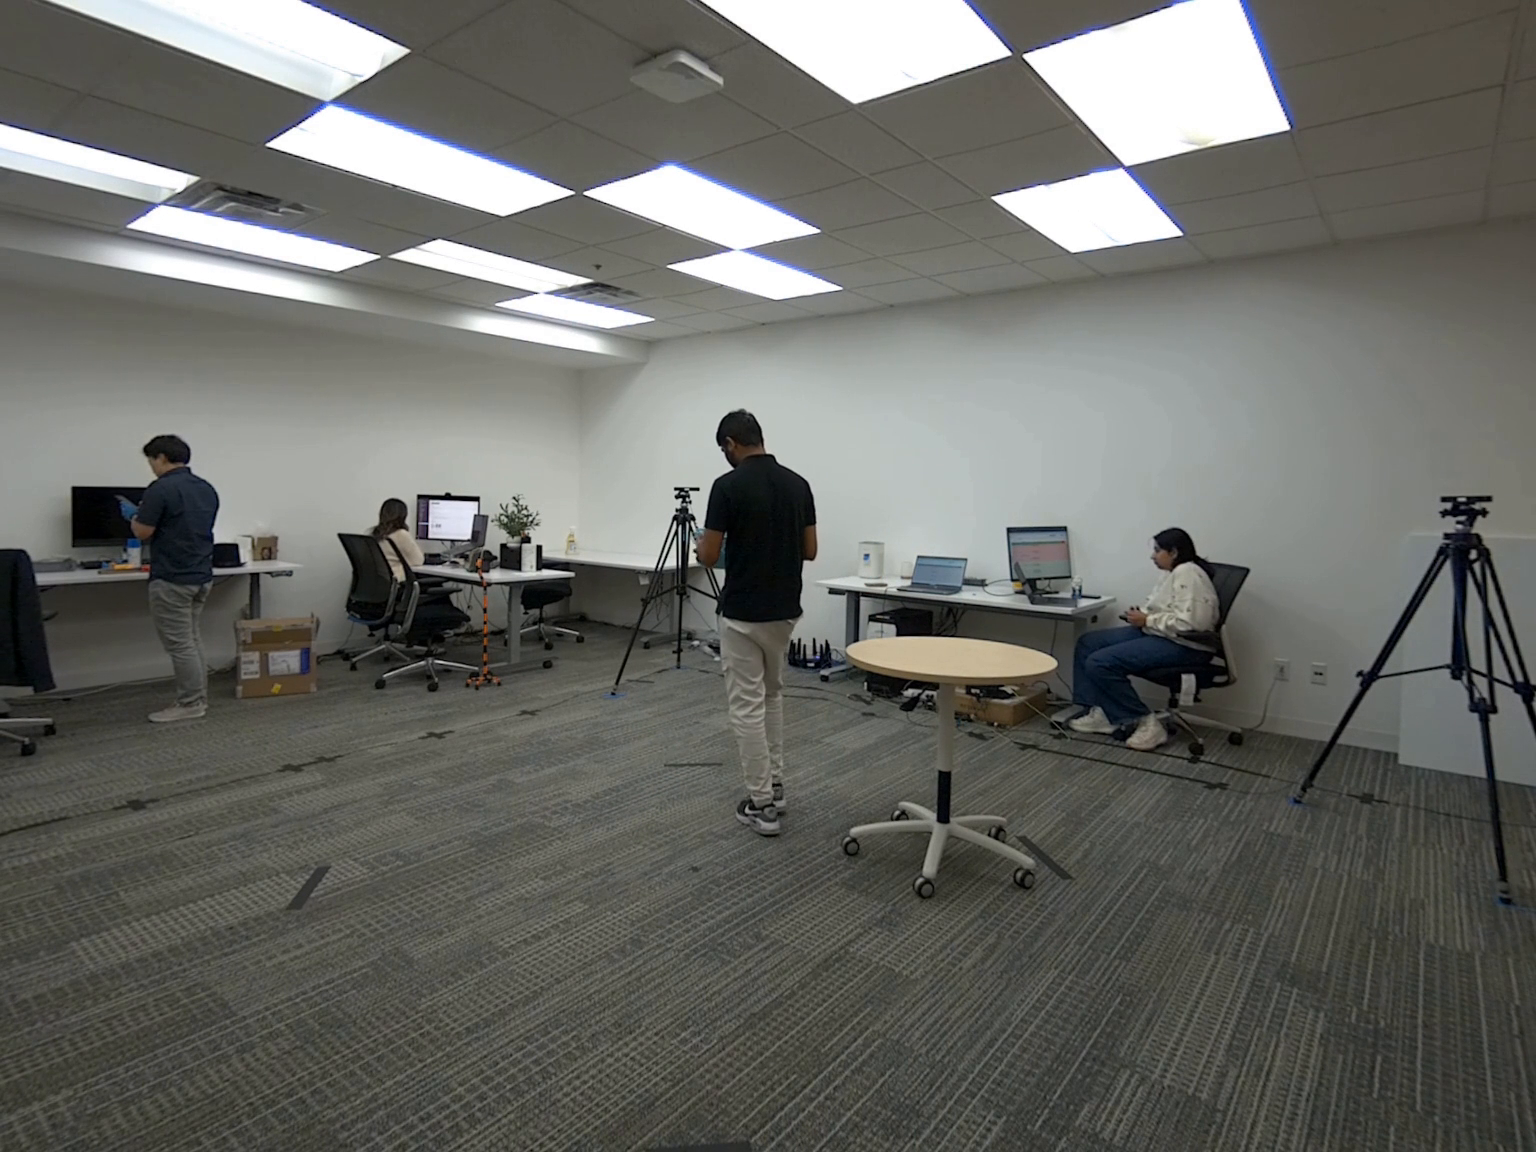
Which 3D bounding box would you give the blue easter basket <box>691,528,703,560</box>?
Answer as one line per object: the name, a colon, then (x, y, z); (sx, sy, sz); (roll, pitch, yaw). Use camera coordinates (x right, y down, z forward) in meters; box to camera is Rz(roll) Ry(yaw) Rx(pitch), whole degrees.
blue easter basket: (-0.243, -0.124, 3.878); (0.243, 0.155, 0.246); (6, 9, -3)
